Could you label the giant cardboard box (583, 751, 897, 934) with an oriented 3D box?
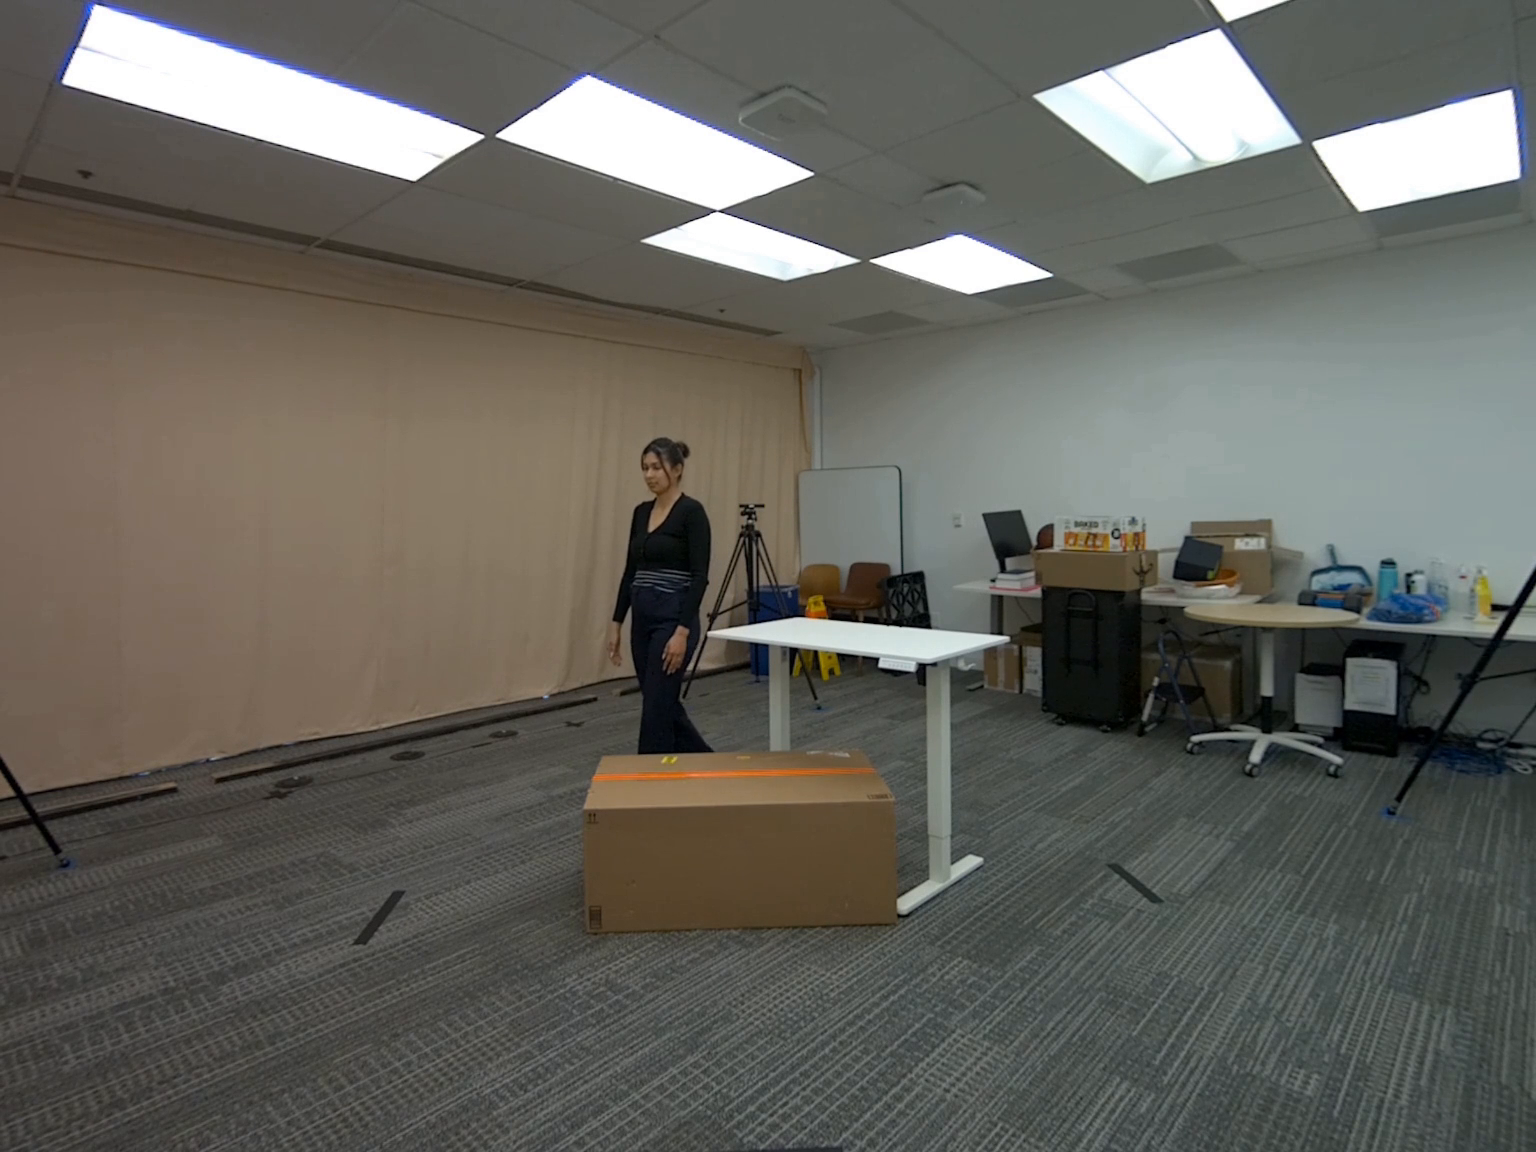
[{"bbox_3d":[-0.109,0.922,3.028,1.024,0.425,0.580,-1,4,-2],"label":"giant cardboard box"}]
